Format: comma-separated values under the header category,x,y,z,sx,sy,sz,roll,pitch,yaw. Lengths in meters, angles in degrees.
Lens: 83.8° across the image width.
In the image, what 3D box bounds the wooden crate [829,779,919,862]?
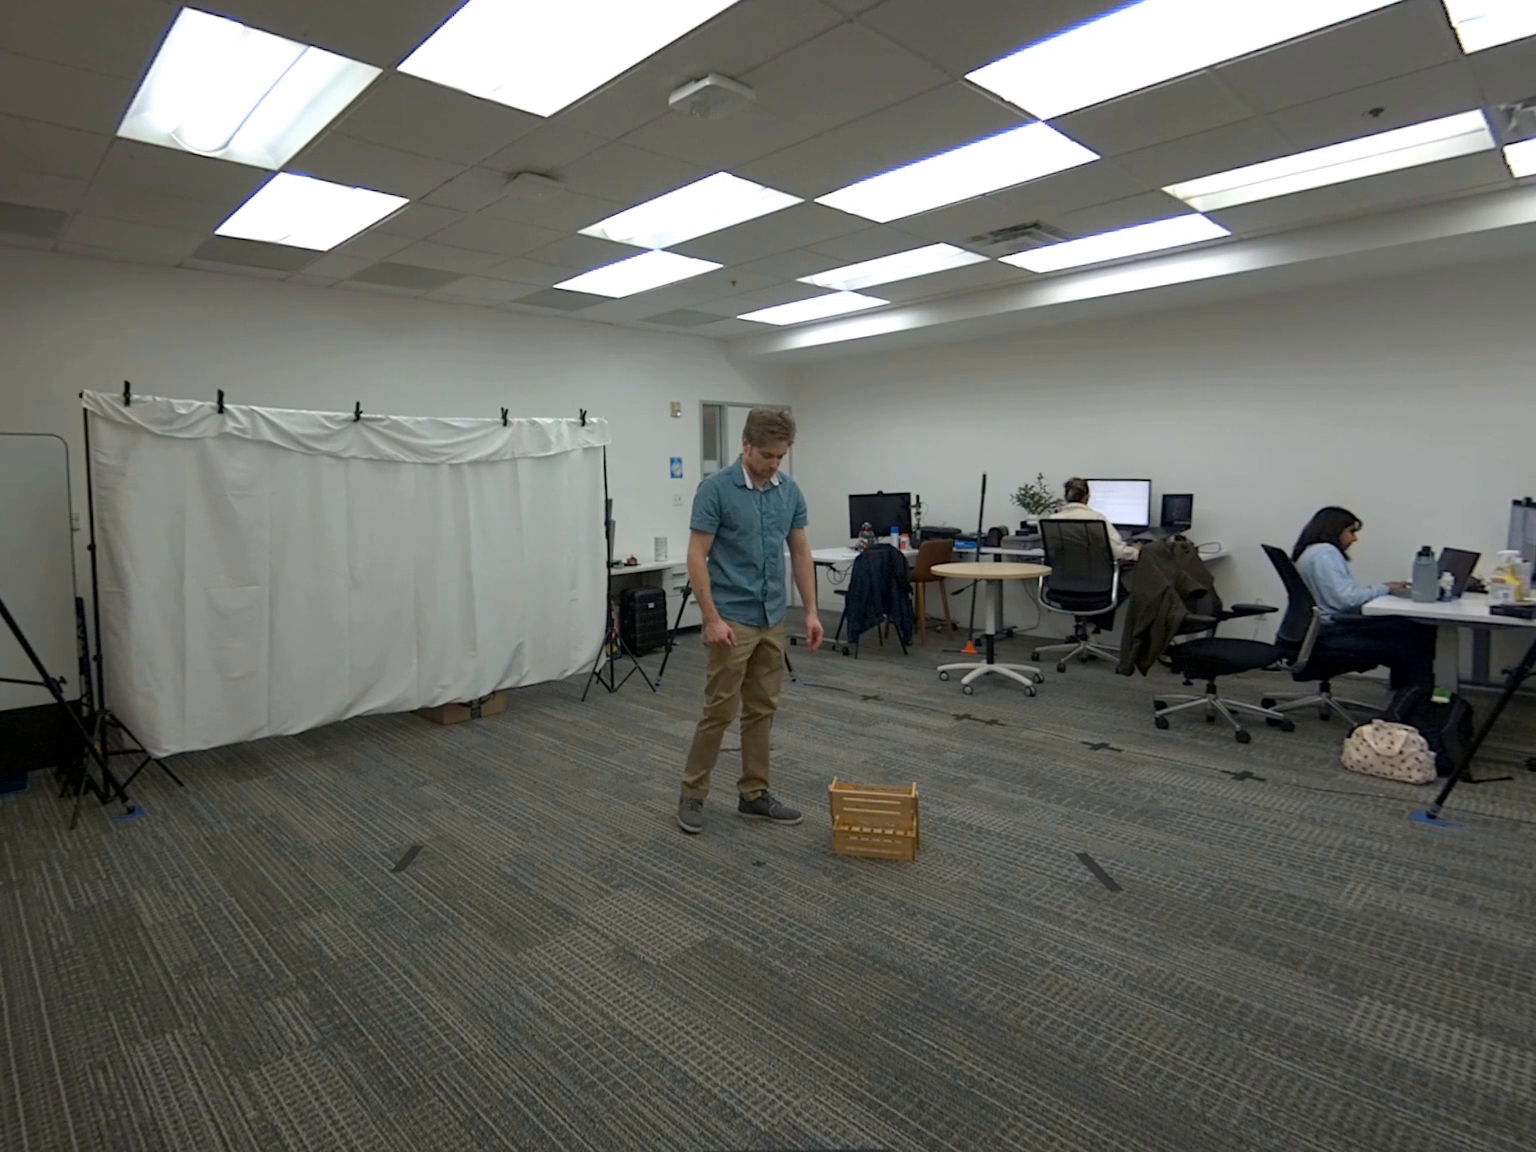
category,x,y,z,sx,sy,sz,roll,pitch,yaw
wooden crate,0.410,0.892,3.235,0.329,0.272,0.299,0,5,13
